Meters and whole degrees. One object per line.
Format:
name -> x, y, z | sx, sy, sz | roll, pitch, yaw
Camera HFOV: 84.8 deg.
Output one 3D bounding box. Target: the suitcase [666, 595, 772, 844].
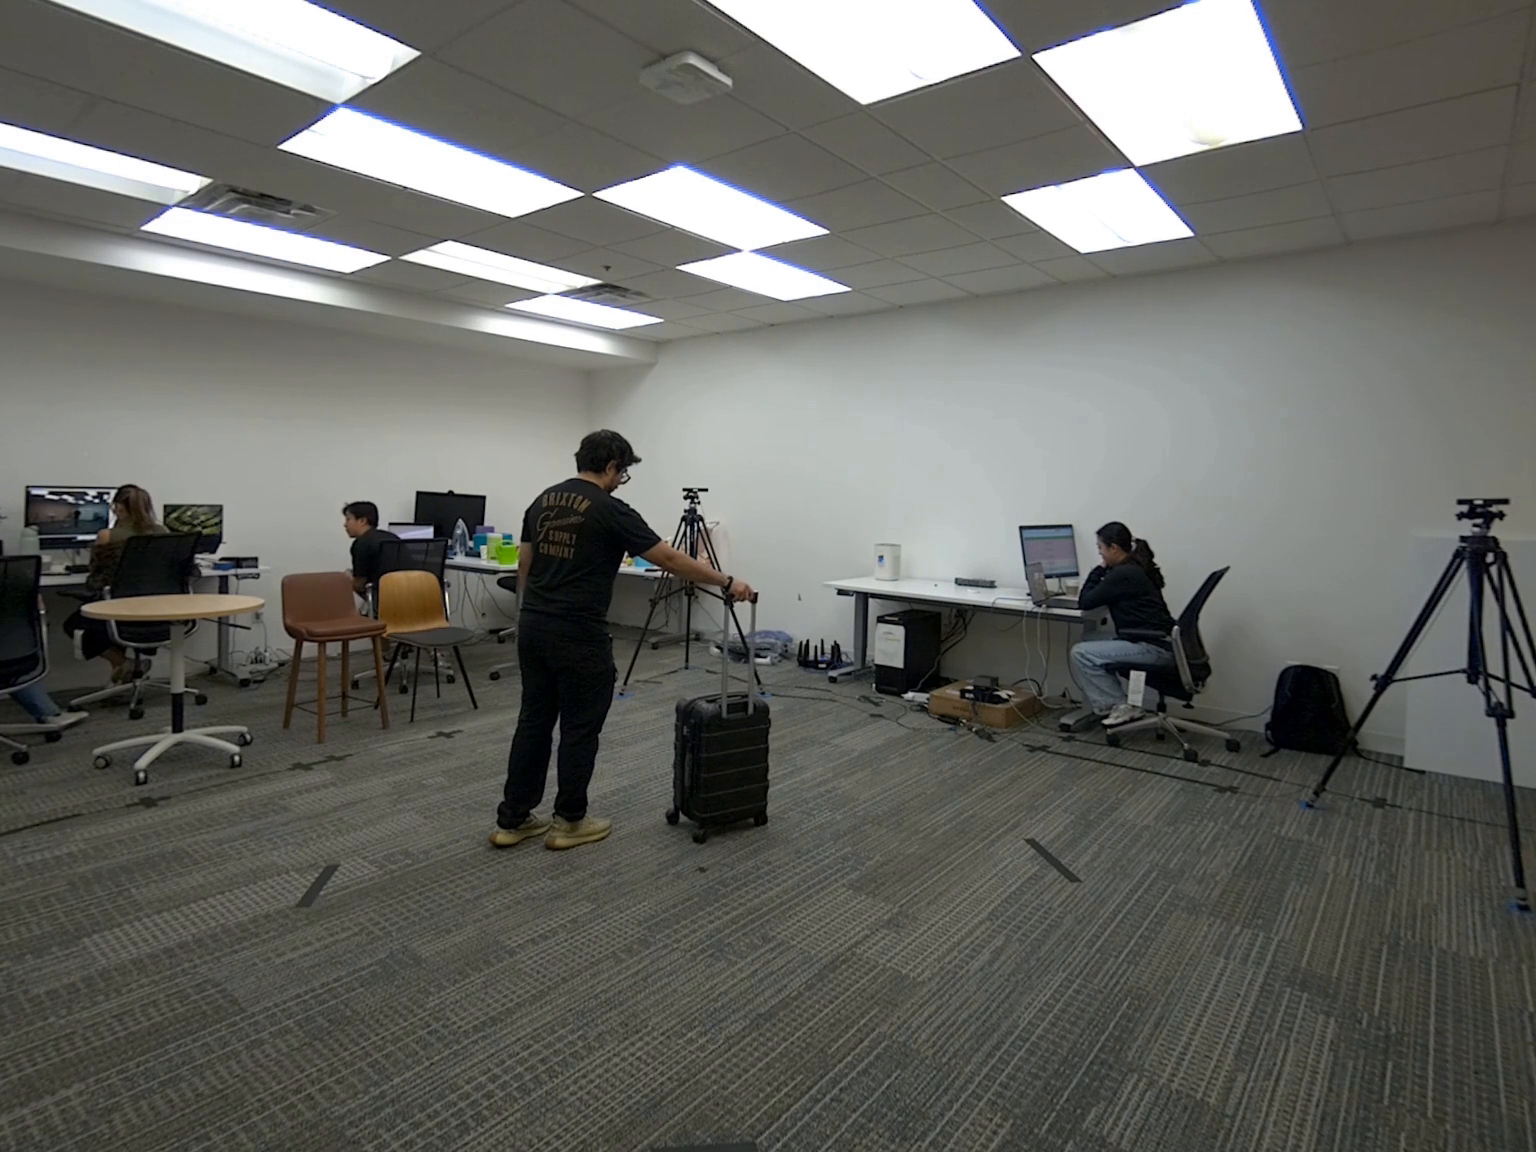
suitcase -> -0.202, 0.555, 3.509 | 0.373, 0.977, 0.265 | 1, 2, -34
